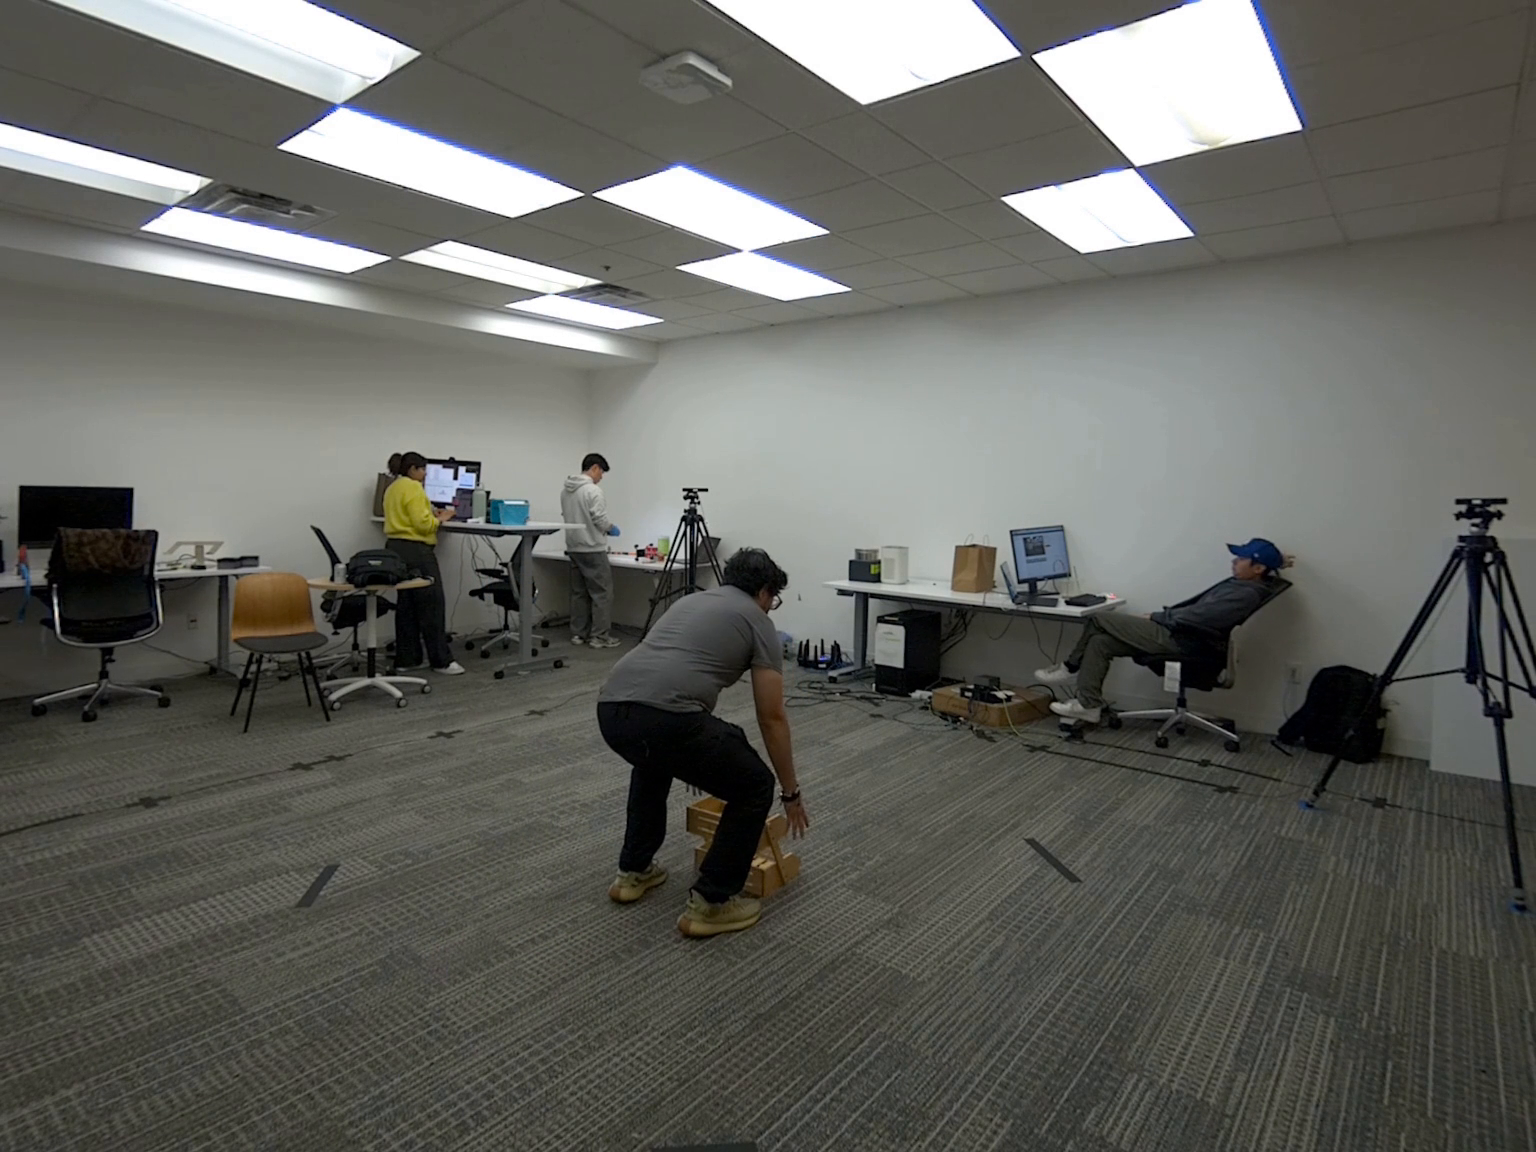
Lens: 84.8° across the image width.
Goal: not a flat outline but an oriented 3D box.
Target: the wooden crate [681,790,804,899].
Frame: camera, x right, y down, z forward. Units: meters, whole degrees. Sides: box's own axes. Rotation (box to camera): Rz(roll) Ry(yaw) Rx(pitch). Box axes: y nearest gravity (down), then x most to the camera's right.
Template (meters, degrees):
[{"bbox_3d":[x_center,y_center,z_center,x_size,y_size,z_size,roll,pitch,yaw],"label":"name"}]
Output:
[{"bbox_3d":[-0.094,0.936,3.061,0.335,0.272,0.294,4,5,34],"label":"wooden crate"}]
